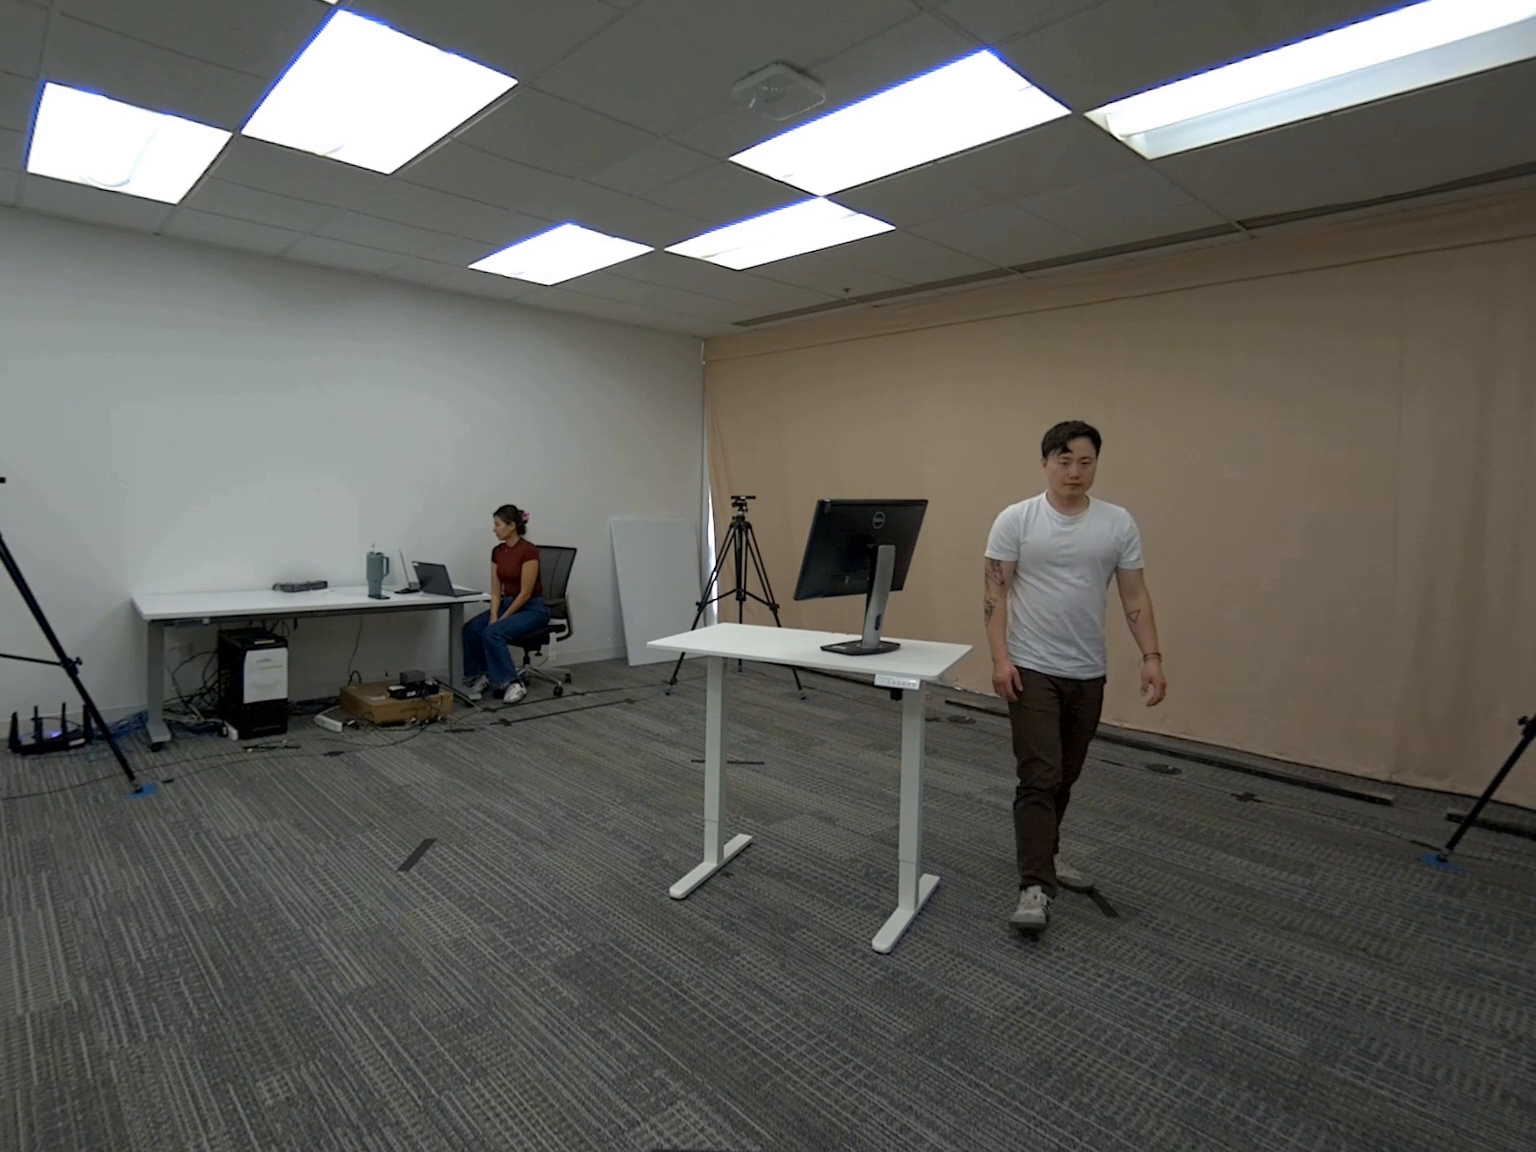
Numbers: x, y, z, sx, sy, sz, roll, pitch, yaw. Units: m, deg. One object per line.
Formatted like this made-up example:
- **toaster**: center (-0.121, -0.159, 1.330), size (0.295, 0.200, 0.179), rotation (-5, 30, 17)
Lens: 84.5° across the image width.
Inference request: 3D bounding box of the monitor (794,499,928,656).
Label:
- **monitor**: center (0.331, 0.000, 2.862), size (0.527, 0.520, 0.192), rotation (-4, 10, -42)
